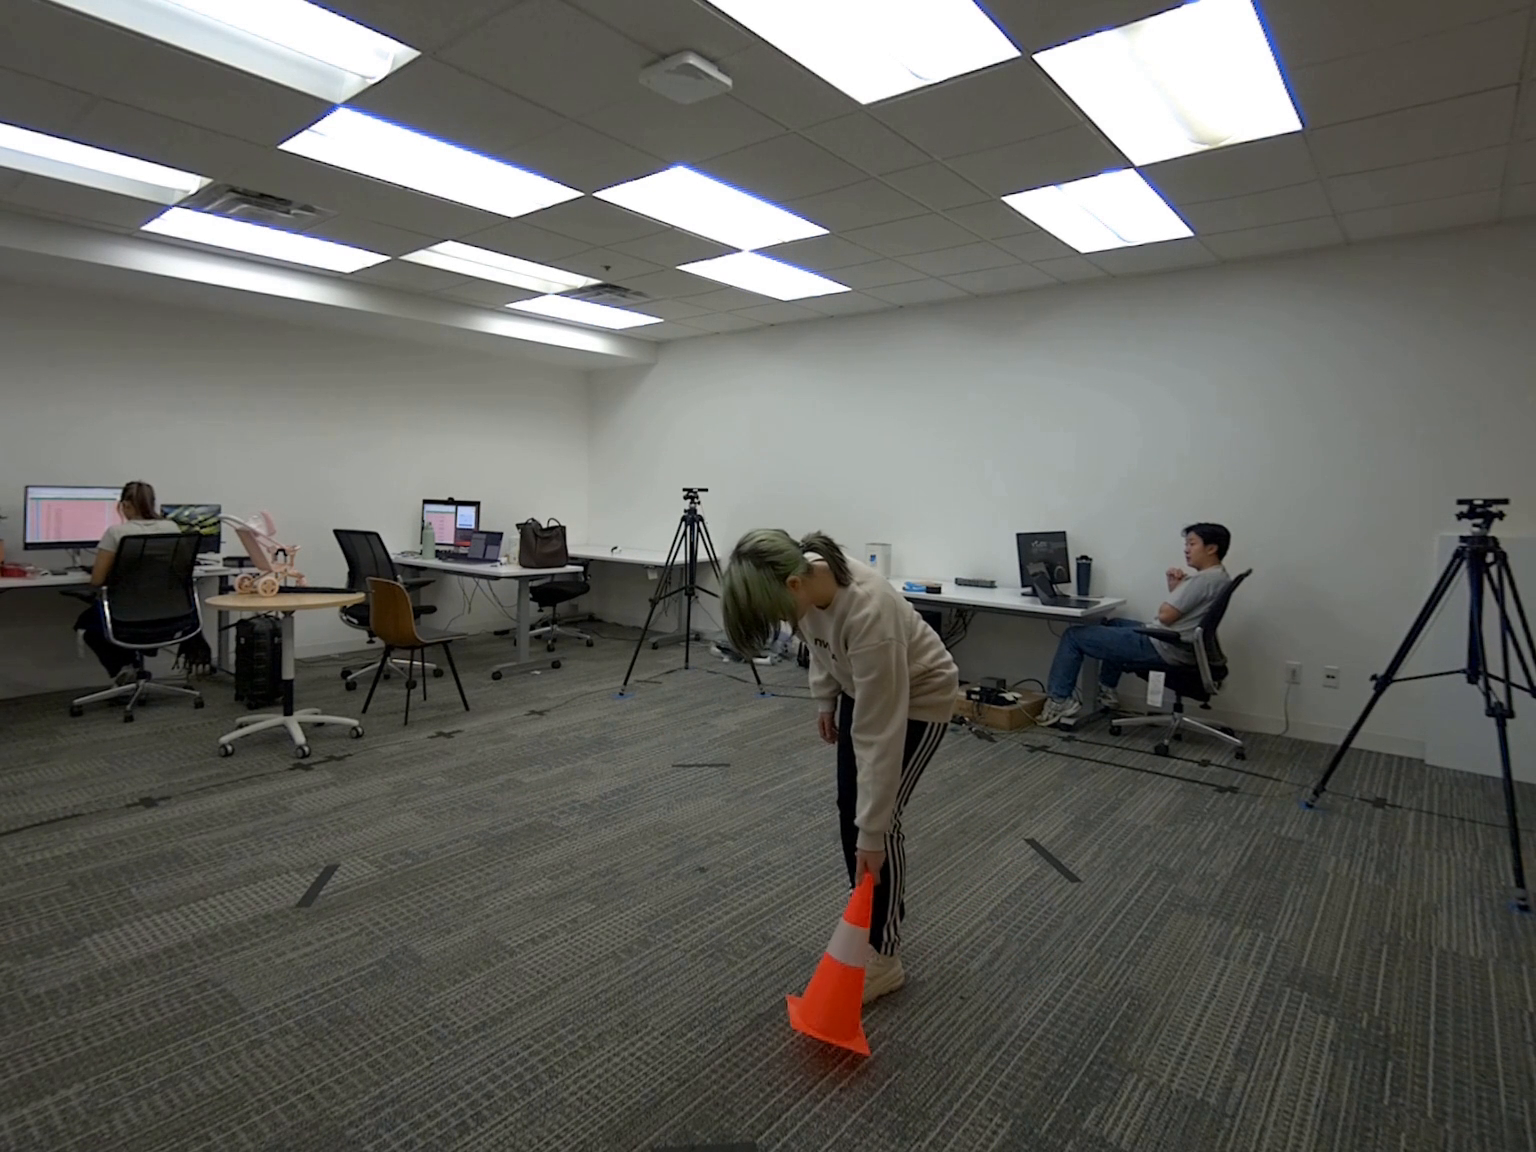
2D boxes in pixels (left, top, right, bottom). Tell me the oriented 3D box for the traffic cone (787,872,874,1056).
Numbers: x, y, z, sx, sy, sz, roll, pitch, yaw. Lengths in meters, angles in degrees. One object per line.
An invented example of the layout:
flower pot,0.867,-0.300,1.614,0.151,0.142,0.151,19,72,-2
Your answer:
traffic cone,0.204,0.939,2.132,0.205,0.385,0.203,14,-5,-2
